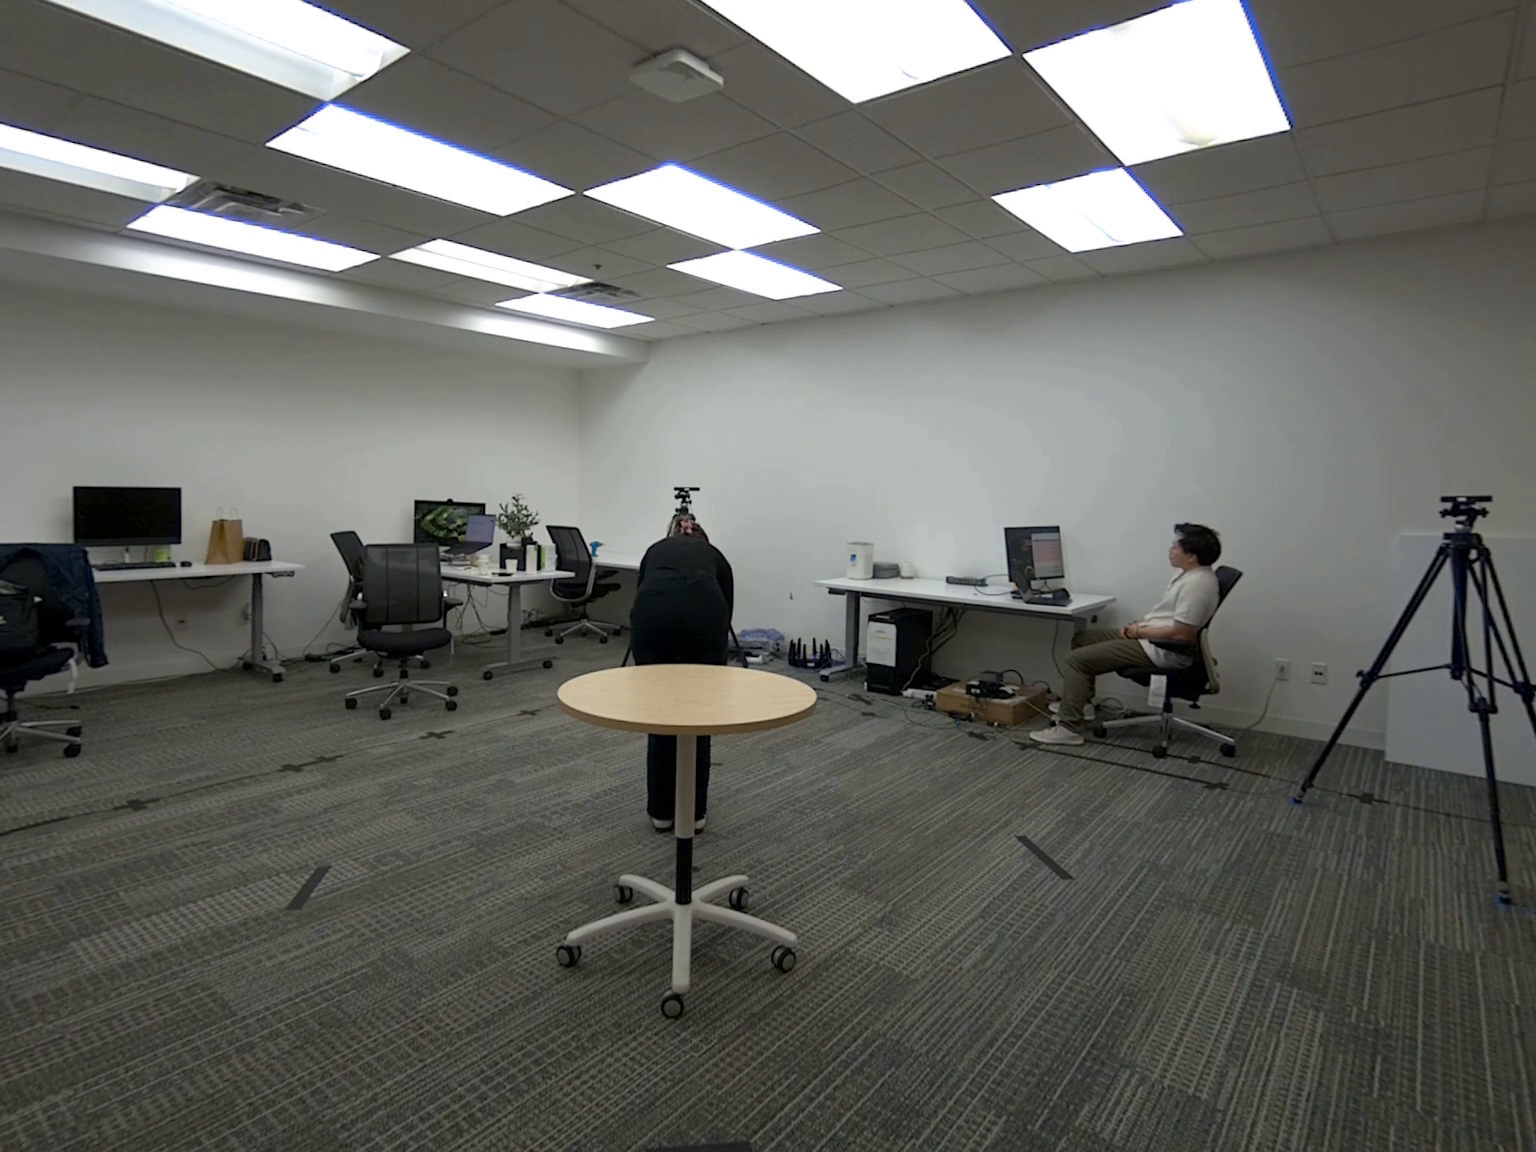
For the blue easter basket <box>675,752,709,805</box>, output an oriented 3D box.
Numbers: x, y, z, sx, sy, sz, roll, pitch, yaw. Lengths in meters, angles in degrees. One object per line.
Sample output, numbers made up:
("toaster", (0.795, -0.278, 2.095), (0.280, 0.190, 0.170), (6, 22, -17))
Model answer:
("blue easter basket", (-0.394, 0.912, 3.814), (0.243, 0.155, 0.245), (1, 5, -2))
